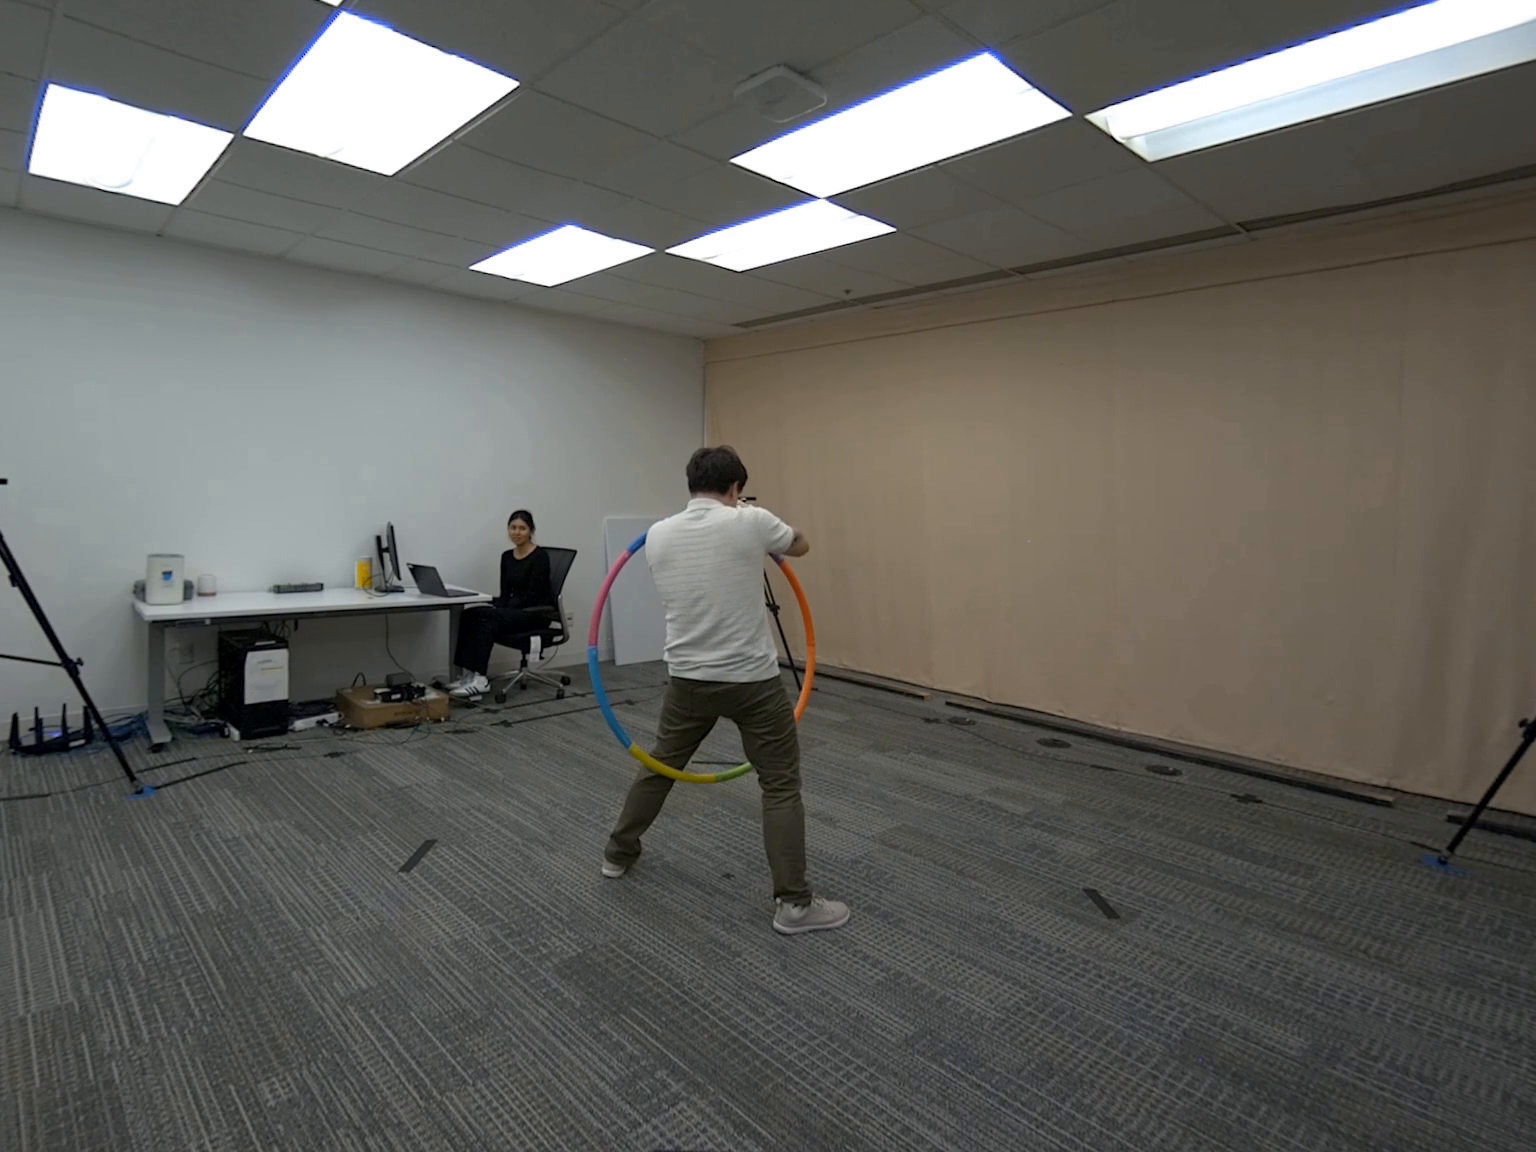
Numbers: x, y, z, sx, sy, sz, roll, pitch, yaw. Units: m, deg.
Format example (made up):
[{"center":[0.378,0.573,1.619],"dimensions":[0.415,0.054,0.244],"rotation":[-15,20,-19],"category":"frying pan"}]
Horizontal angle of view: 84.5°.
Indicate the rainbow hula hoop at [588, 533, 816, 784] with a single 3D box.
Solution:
[{"center":[-0.221,0.262,3.158],"dimensions":[0.958,0.984,0.036],"rotation":[-2,-8,-33],"category":"rainbow hula hoop"}]
